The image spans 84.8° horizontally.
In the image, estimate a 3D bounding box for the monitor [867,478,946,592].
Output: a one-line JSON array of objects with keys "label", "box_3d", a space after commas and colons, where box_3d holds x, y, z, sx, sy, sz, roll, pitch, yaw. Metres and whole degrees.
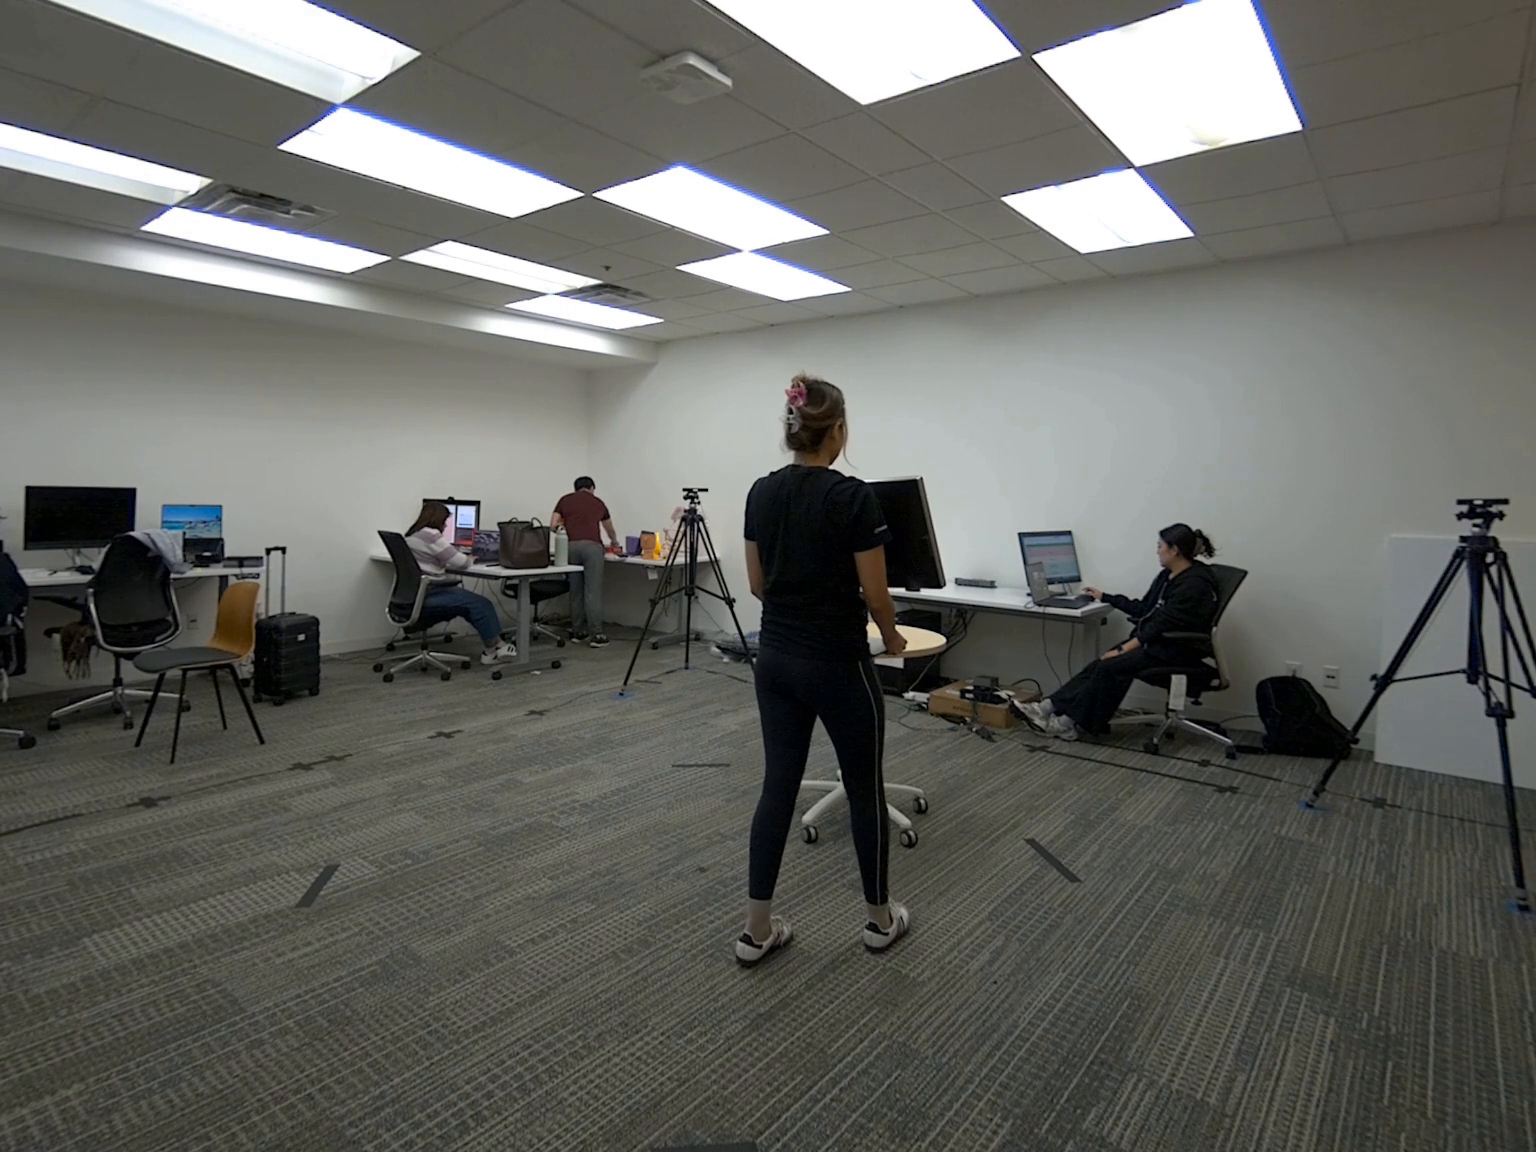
[{"label": "monitor", "box_3d": [0.265, -0.041, 2.738, 0.556, 0.519, 0.183, 0, 9, 41]}]
